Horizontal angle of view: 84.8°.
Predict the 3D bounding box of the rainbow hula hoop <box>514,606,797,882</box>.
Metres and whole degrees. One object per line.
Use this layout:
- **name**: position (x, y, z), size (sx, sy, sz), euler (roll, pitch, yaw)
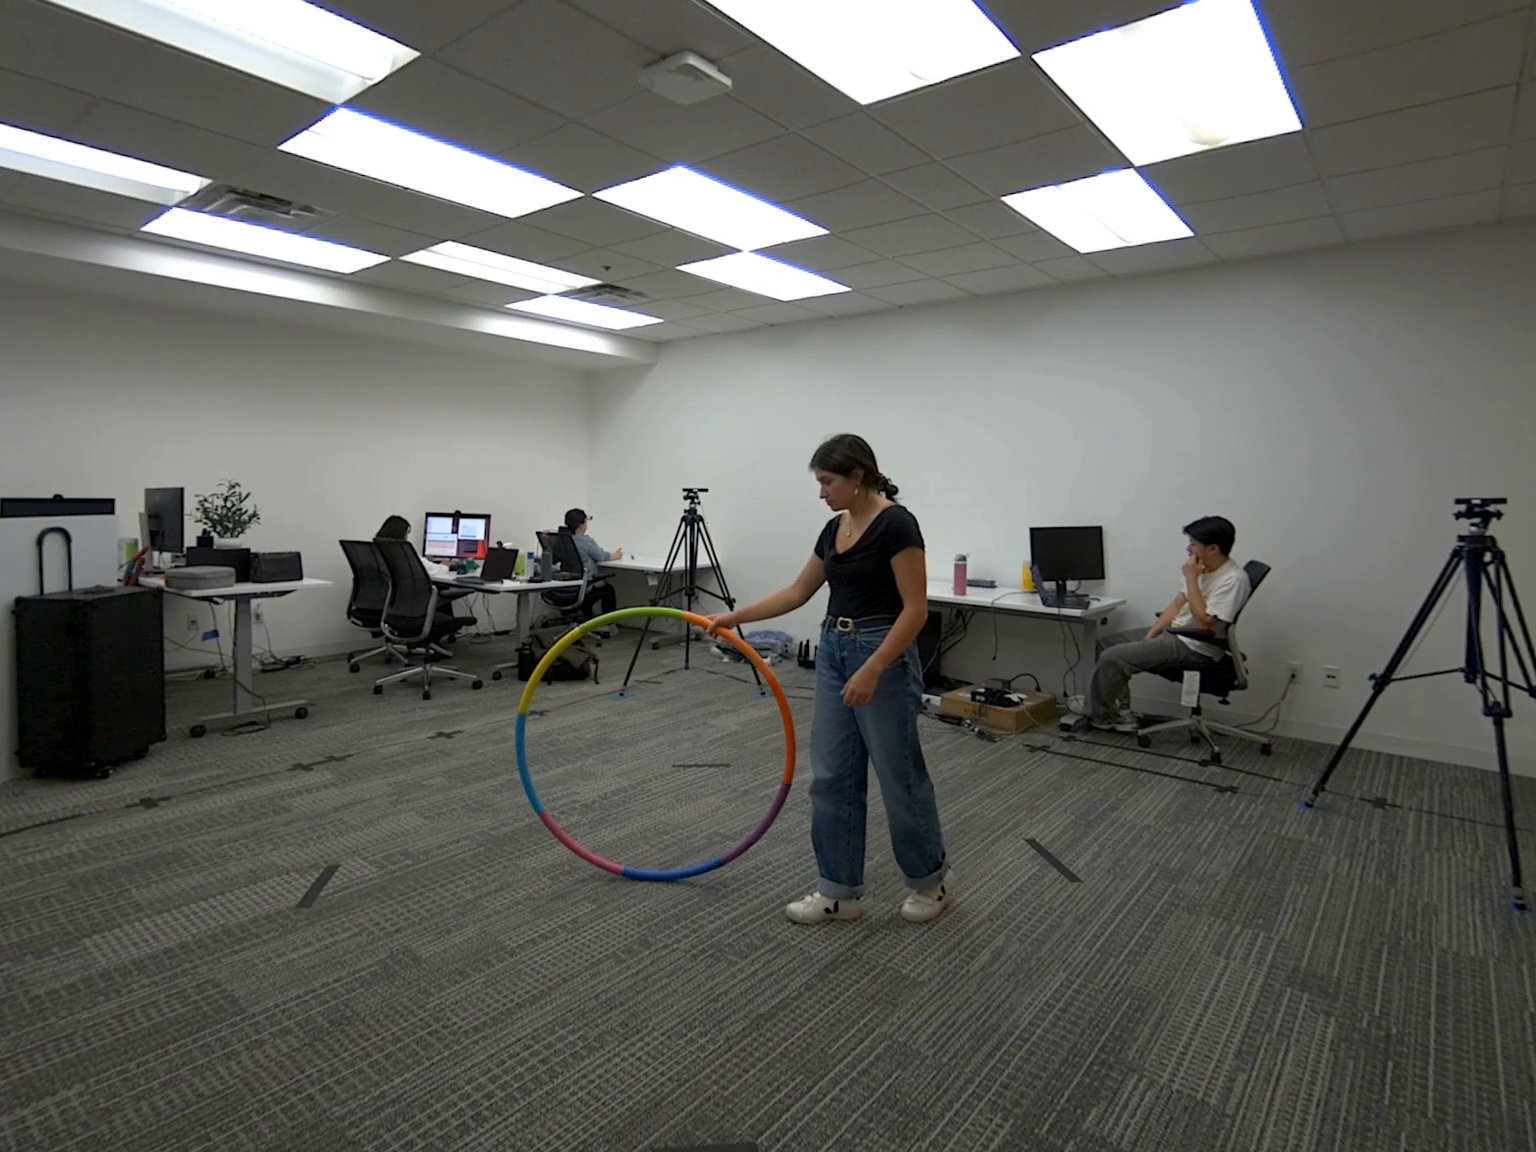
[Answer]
- **rainbow hula hoop**: position (-0.405, 0.587, 2.981), size (0.984, 0.974, 0.035), euler (1, 4, 5)
